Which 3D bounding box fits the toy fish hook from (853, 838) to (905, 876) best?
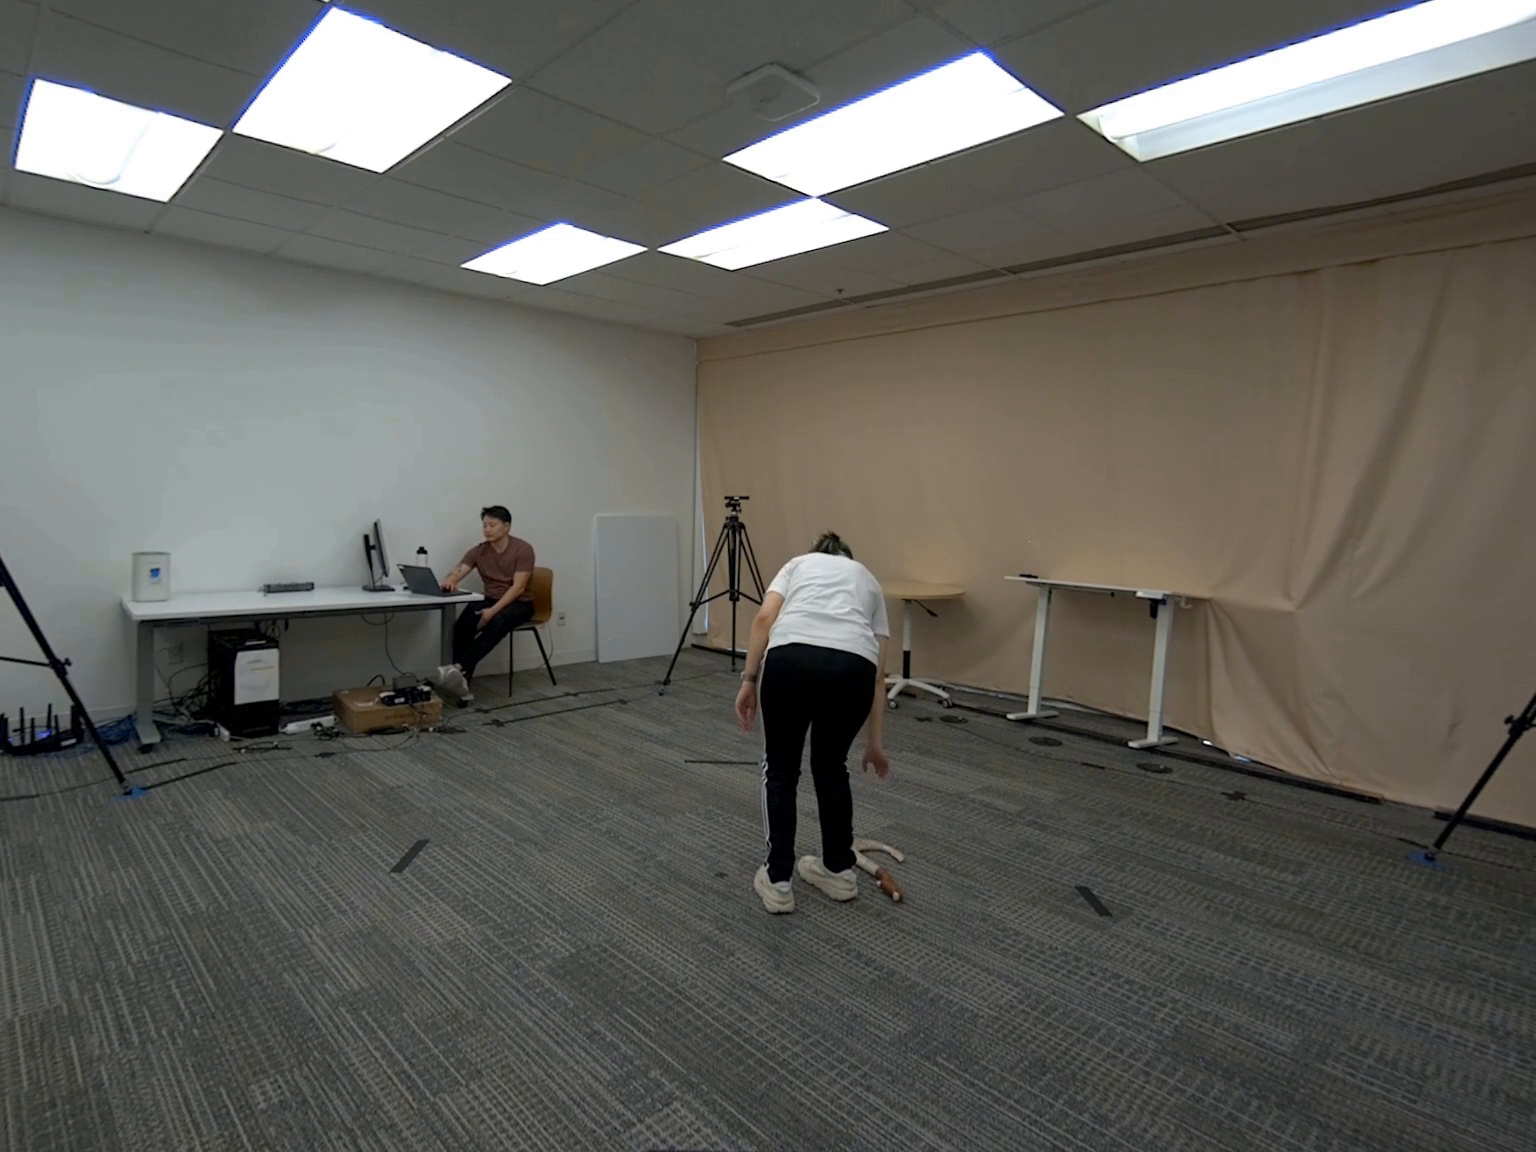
[{"bbox_3d":[0.436,1.091,3.156,0.222,0.048,0.513,-1,5,-14],"label":"toy fish hook"}]
